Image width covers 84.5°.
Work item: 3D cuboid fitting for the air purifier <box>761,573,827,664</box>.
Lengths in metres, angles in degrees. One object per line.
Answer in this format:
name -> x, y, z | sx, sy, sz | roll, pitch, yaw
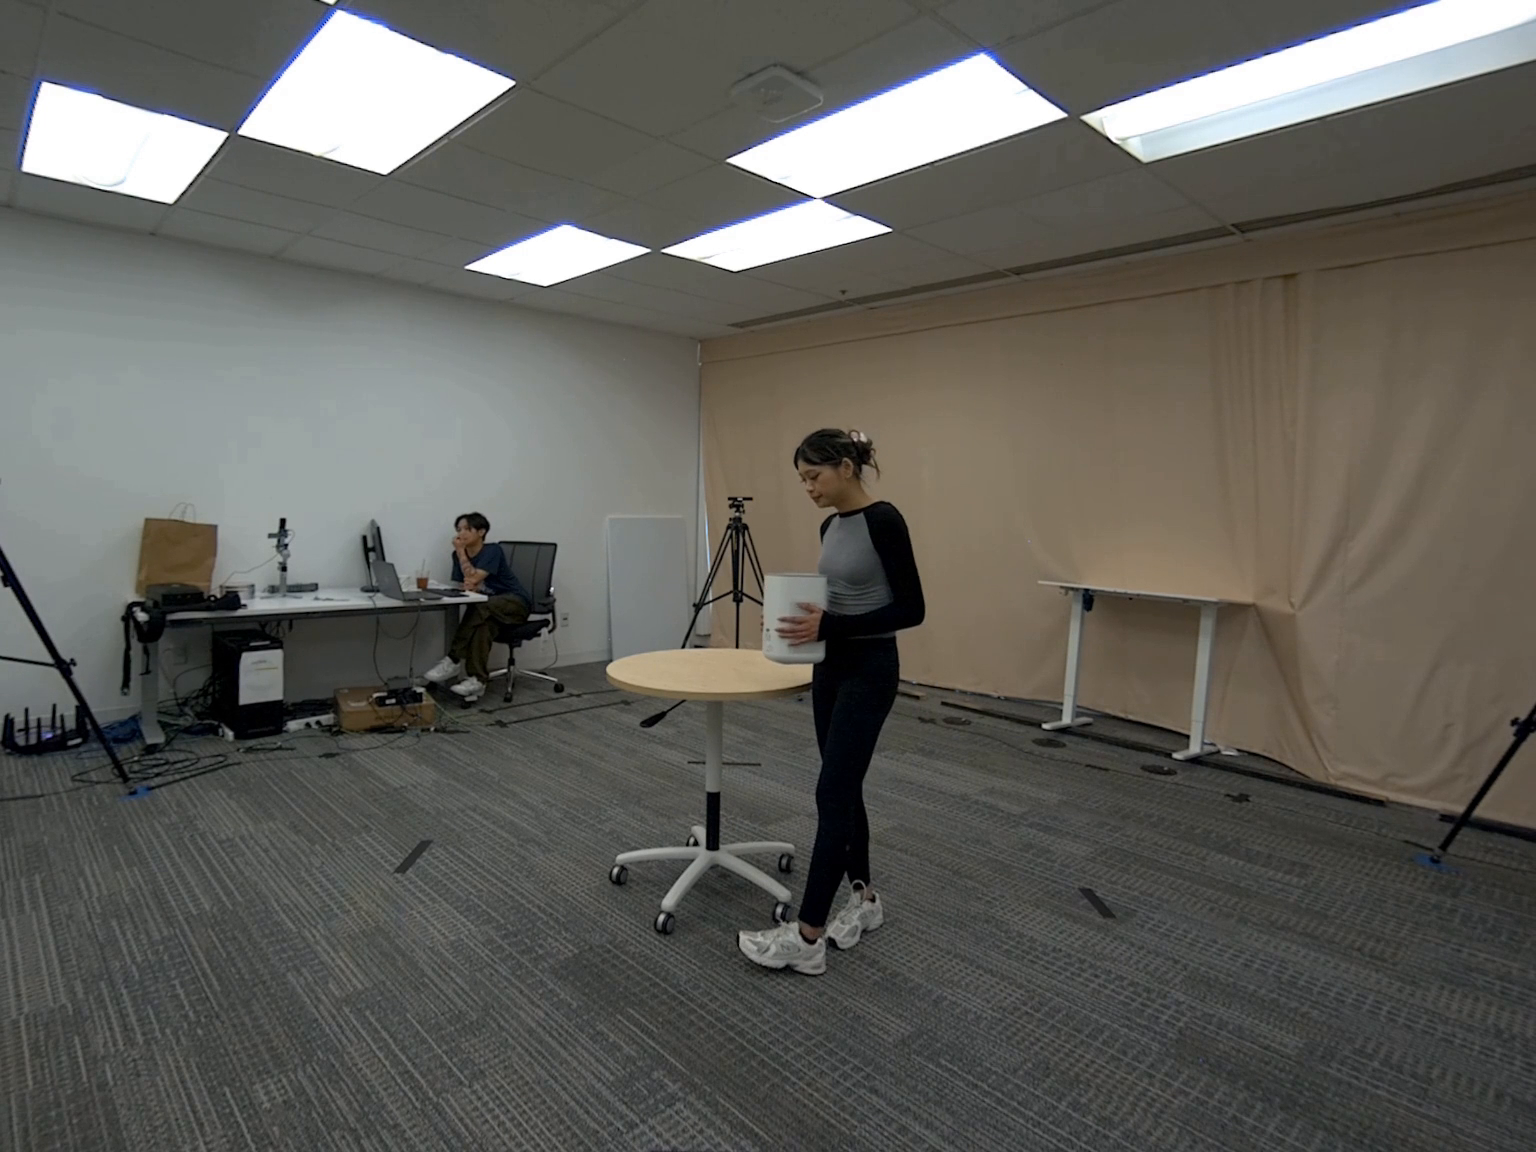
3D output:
air purifier -> 0.077, 0.127, 2.560 | 0.169, 0.265, 0.173 | 1, 0, -14
